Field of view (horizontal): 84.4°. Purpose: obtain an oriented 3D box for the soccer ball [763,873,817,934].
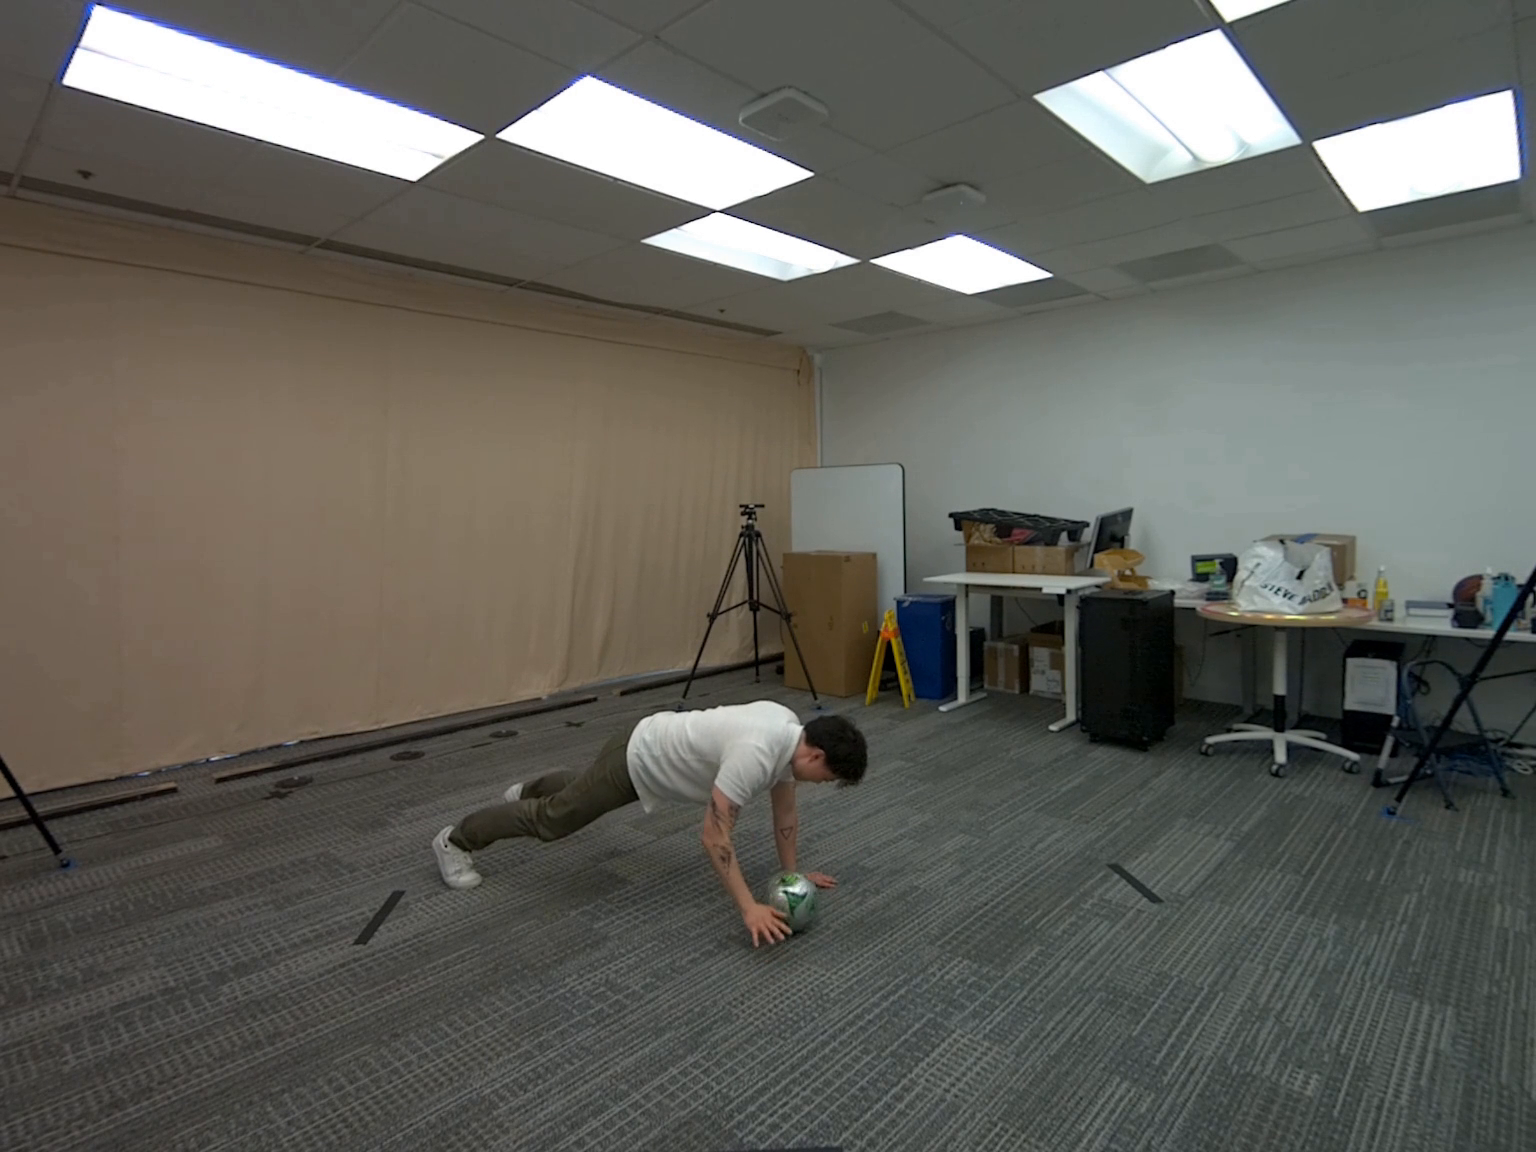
[{"bbox_3d":[0.072,1.057,2.755,0.187,0.187,0.188,-1,4,-2],"label":"soccer ball"}]
